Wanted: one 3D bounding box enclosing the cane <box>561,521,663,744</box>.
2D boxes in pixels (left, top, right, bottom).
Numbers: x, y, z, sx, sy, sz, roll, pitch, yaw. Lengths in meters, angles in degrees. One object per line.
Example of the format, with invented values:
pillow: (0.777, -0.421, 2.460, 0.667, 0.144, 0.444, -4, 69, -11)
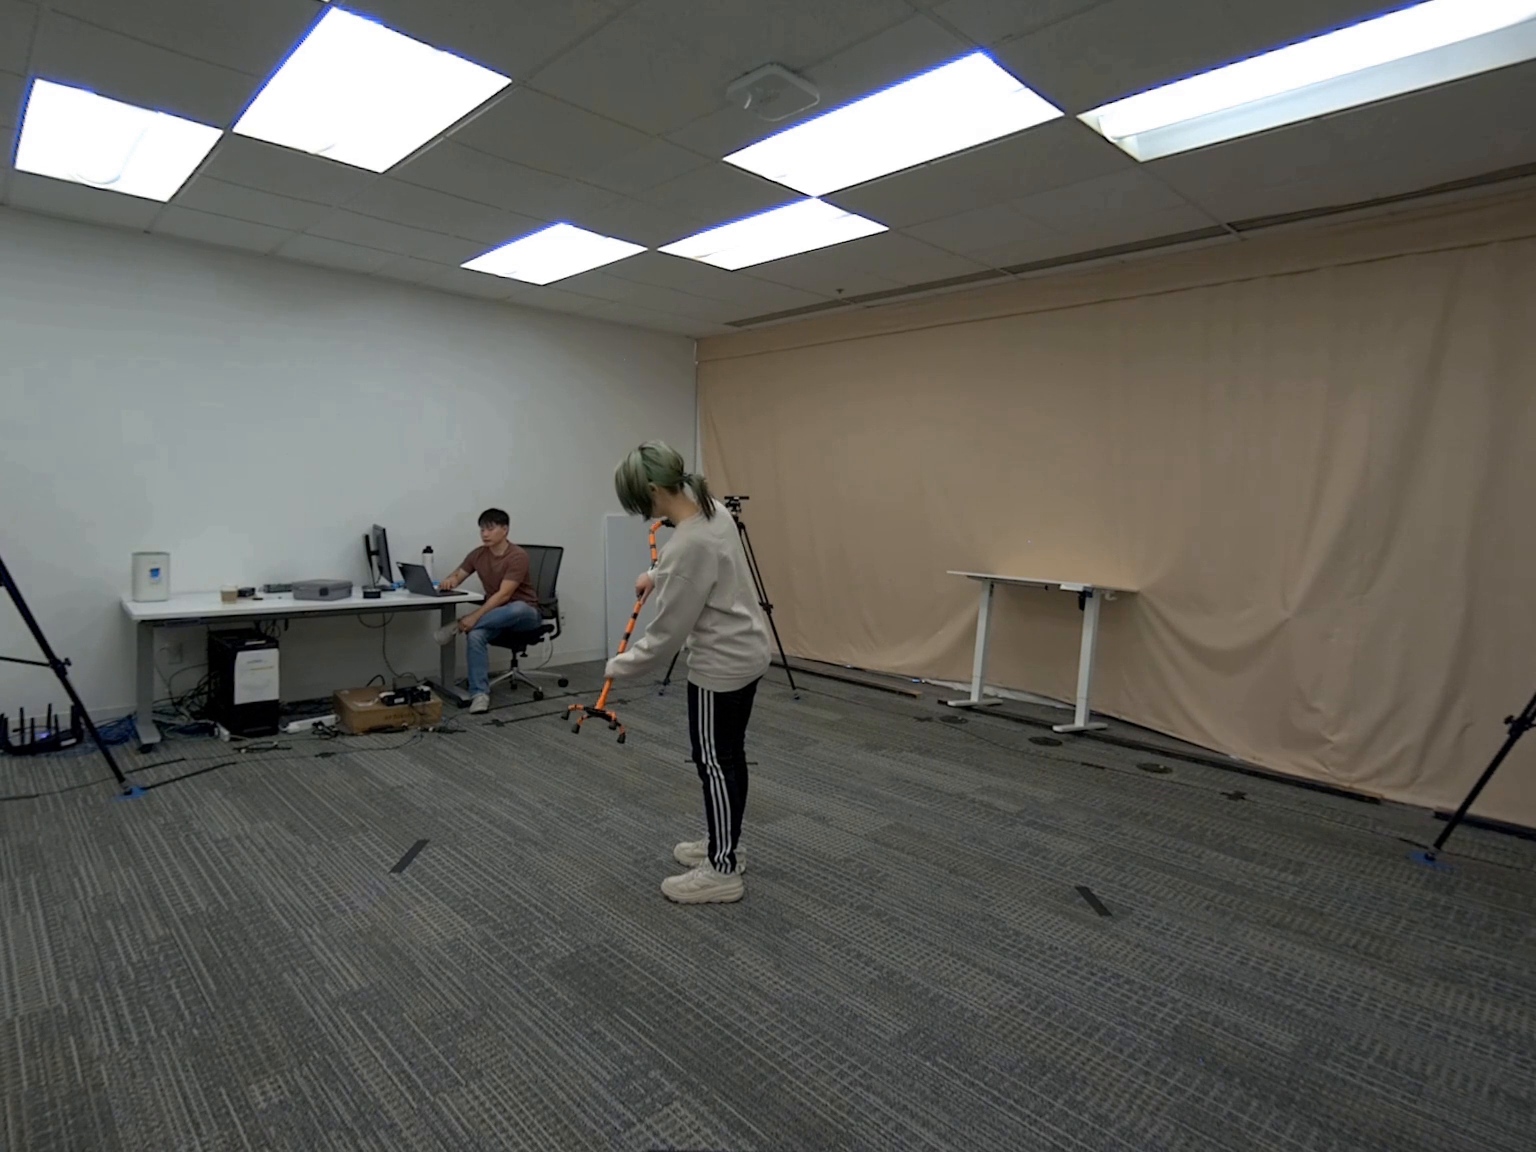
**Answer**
cane: (-0.515, 0.167, 3.144, 0.208, 0.920, 0.148, 9, -32, 9)
